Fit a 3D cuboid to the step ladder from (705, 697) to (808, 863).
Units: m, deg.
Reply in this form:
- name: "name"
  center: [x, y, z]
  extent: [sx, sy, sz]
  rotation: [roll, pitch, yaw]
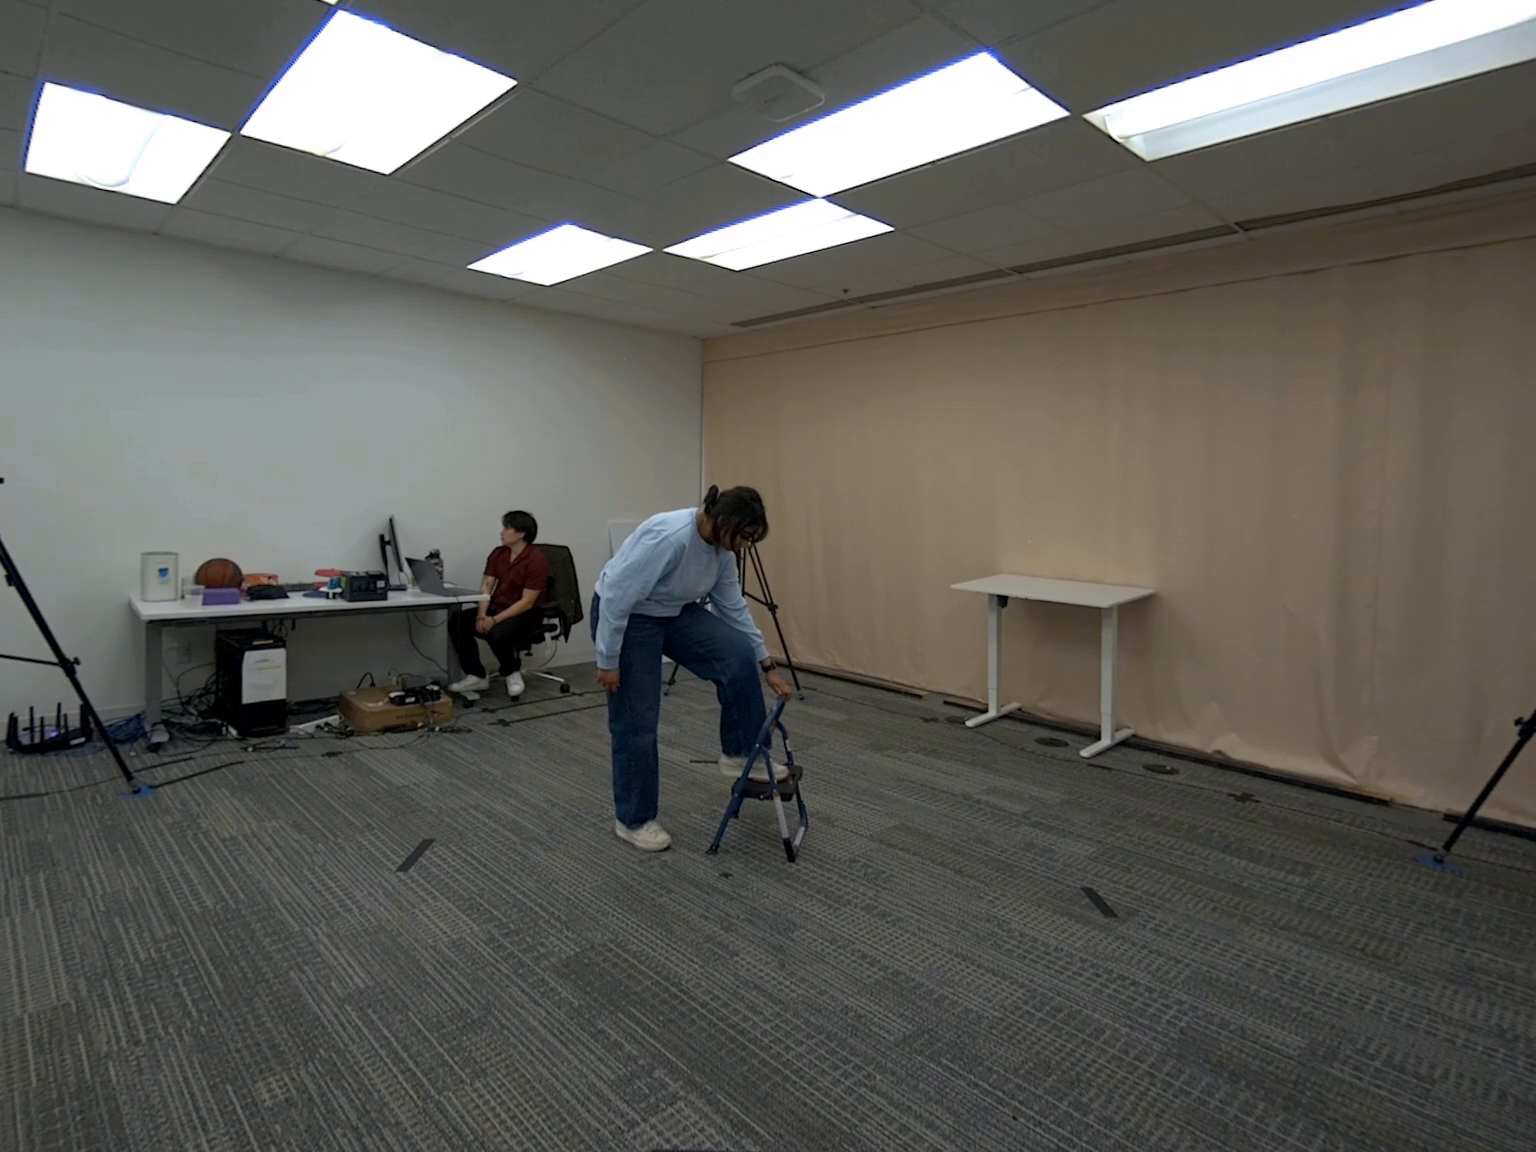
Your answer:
- name: "step ladder"
  center: [-0.033, 0.777, 3.442]
  extent: [0.353, 0.605, 0.427]
  rotation: [2, 3, 11]
